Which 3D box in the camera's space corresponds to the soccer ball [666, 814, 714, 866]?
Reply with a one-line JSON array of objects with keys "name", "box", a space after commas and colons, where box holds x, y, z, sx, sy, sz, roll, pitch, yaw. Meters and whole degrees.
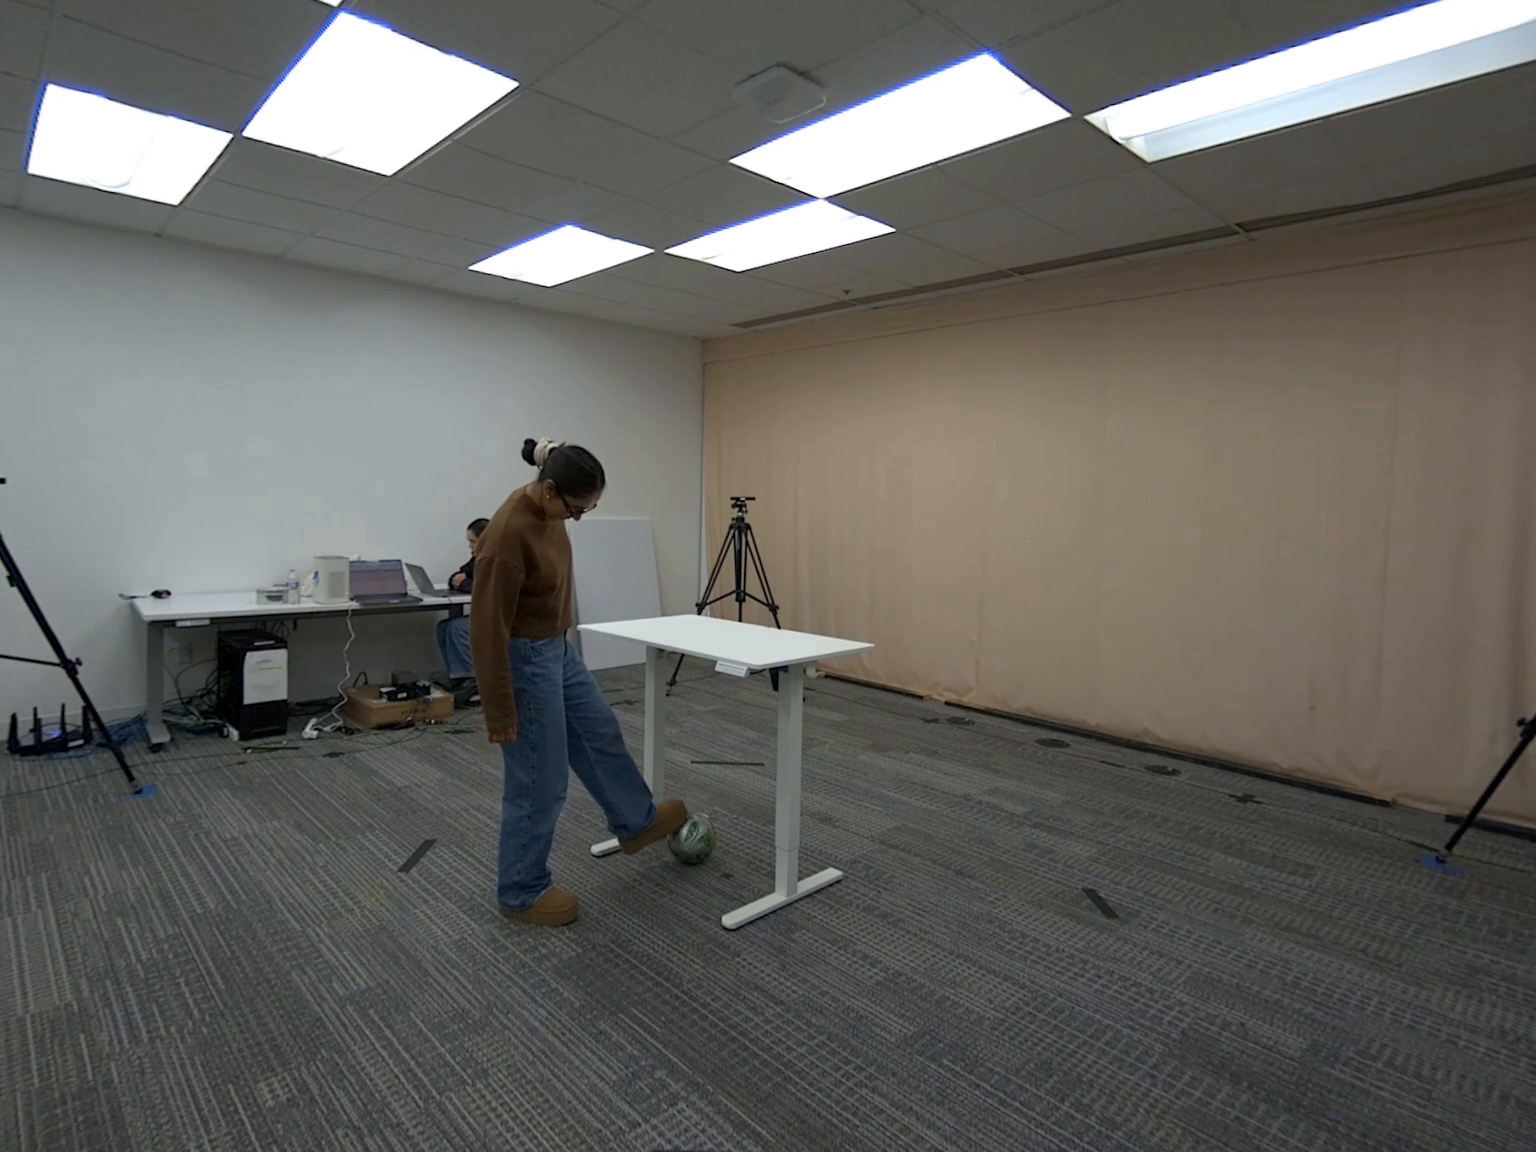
[{"name": "soccer ball", "box": [-0.295, 1.000, 3.215, 0.187, 0.187, 0.188, 1, 4, -1]}]
